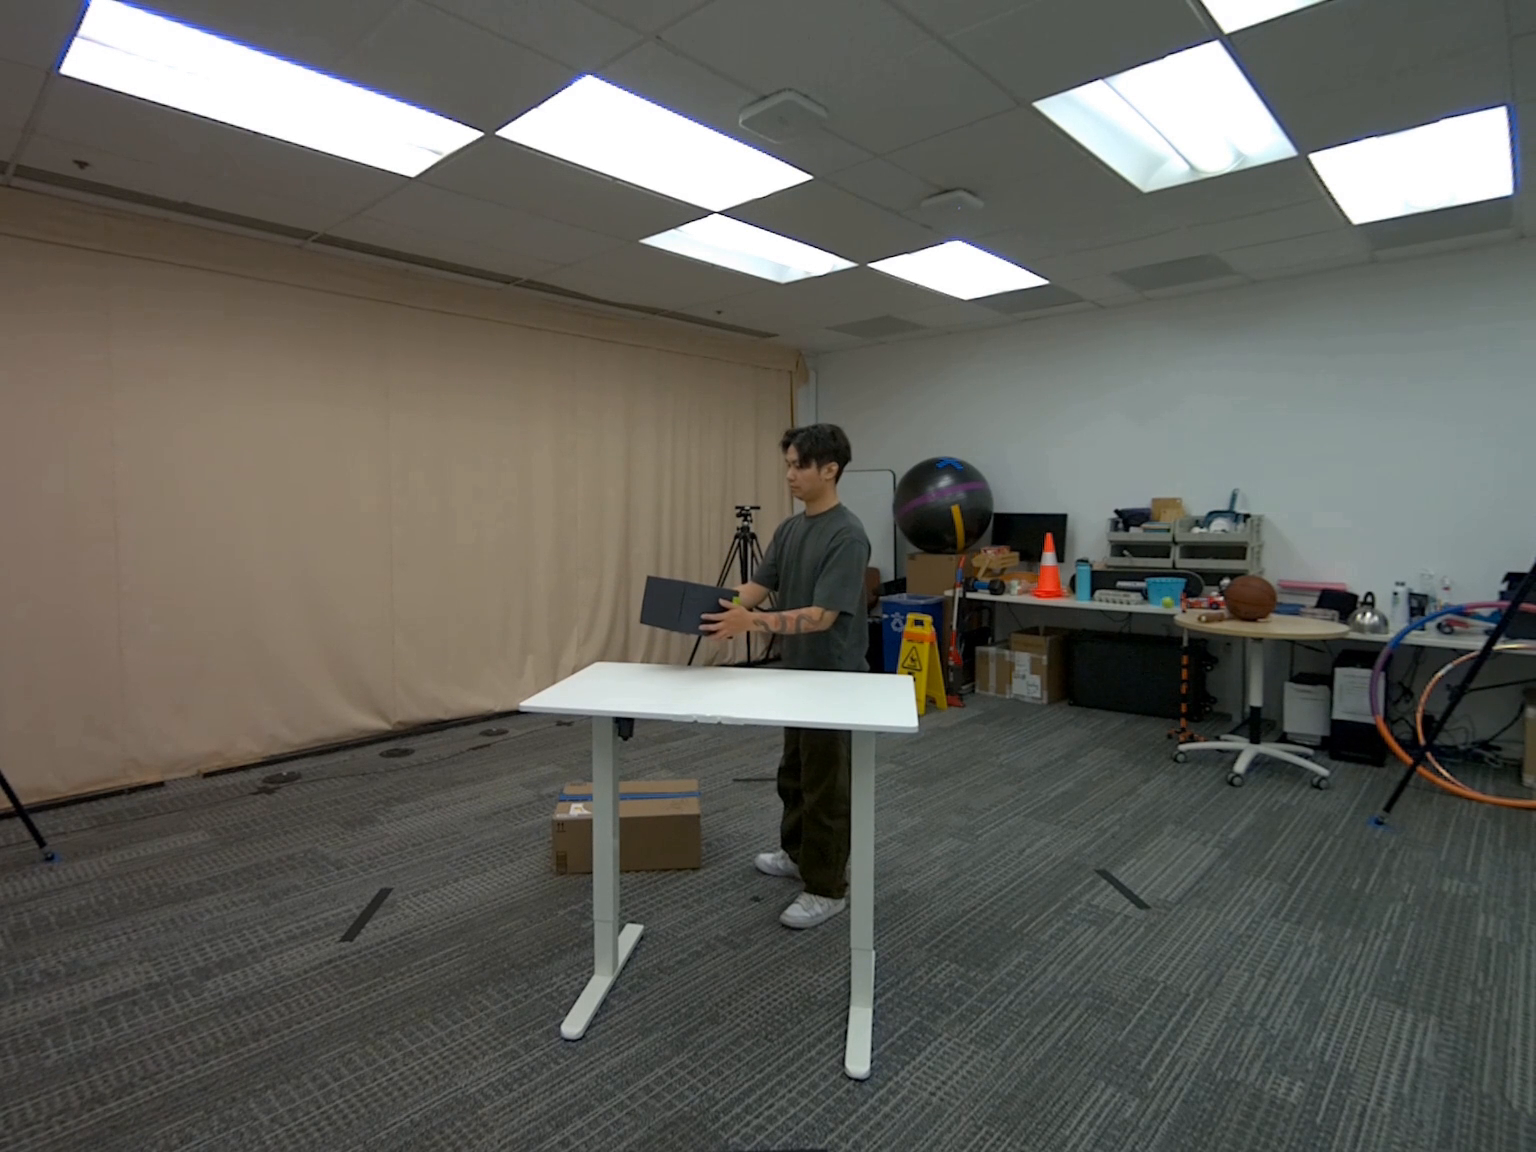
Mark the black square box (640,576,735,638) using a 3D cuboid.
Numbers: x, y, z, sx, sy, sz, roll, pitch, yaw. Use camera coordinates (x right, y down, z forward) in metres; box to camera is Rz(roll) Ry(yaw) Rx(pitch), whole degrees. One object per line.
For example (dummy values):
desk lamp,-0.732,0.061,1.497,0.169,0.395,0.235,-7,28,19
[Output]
black square box,-0.247,0.097,2.668,0.210,0.156,0.235,11,-3,-38
